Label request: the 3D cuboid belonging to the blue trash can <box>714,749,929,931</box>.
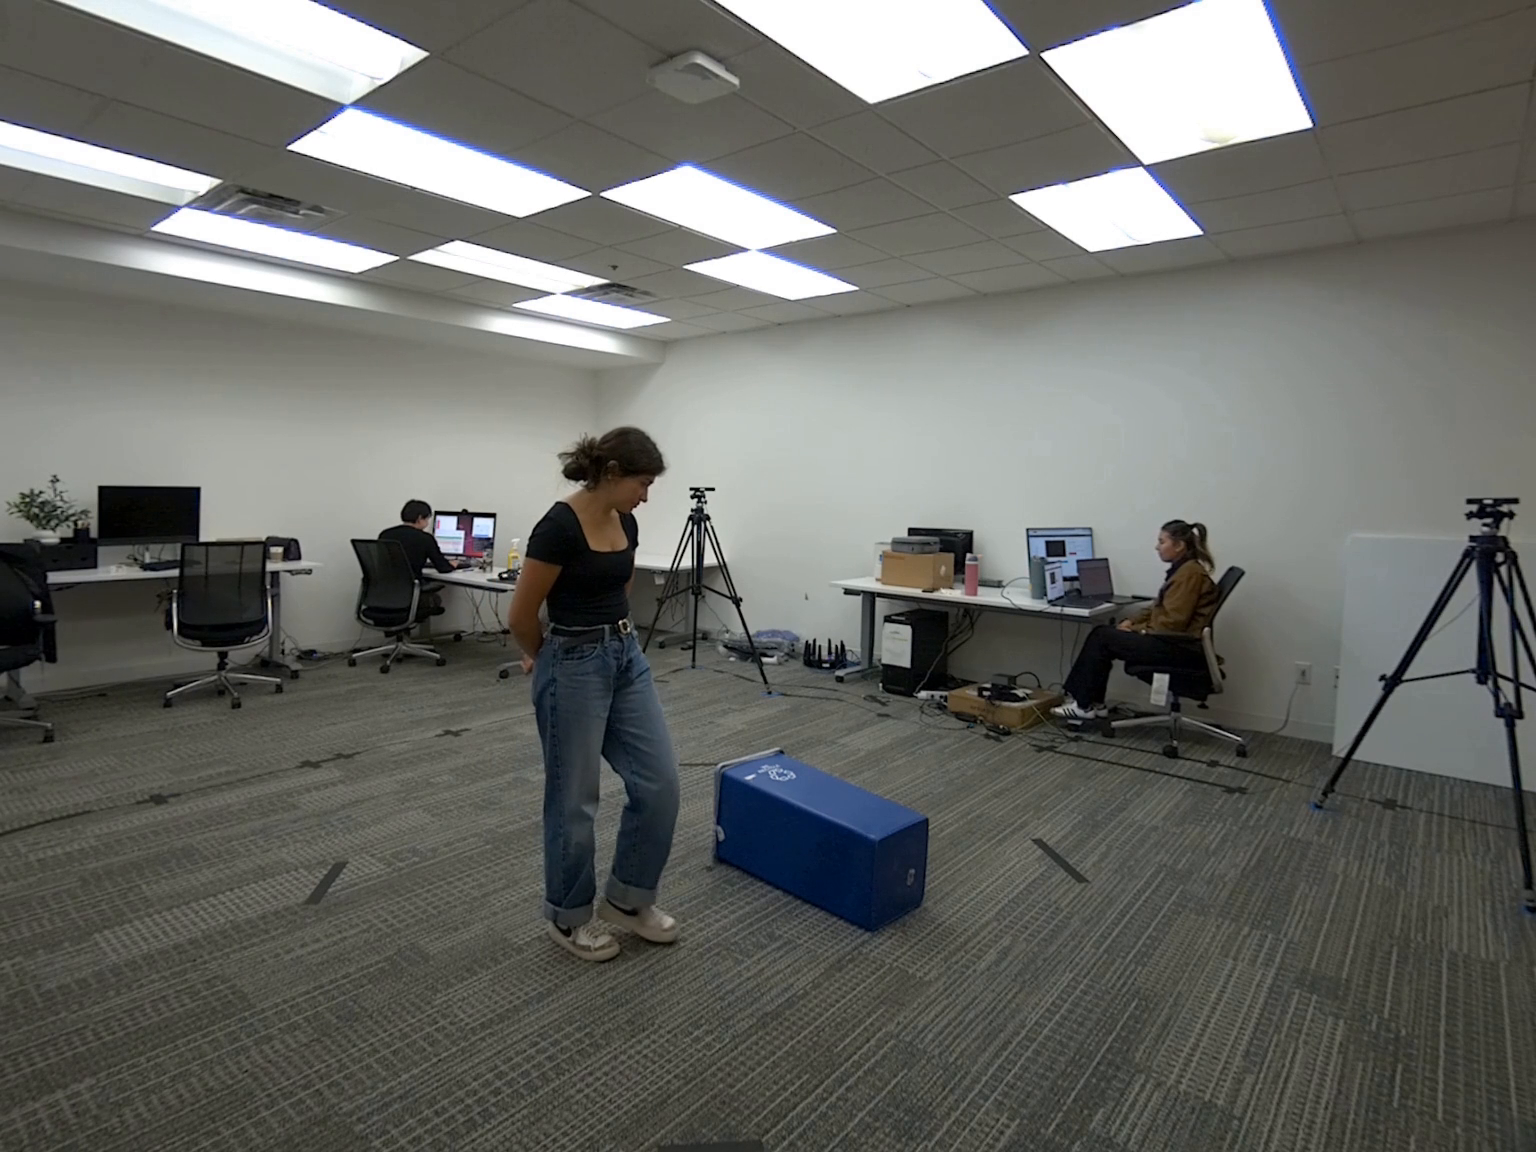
[{"bbox_3d":[0.168,0.914,3.018,0.739,0.376,0.362,10,9,44],"label":"blue trash can"}]
